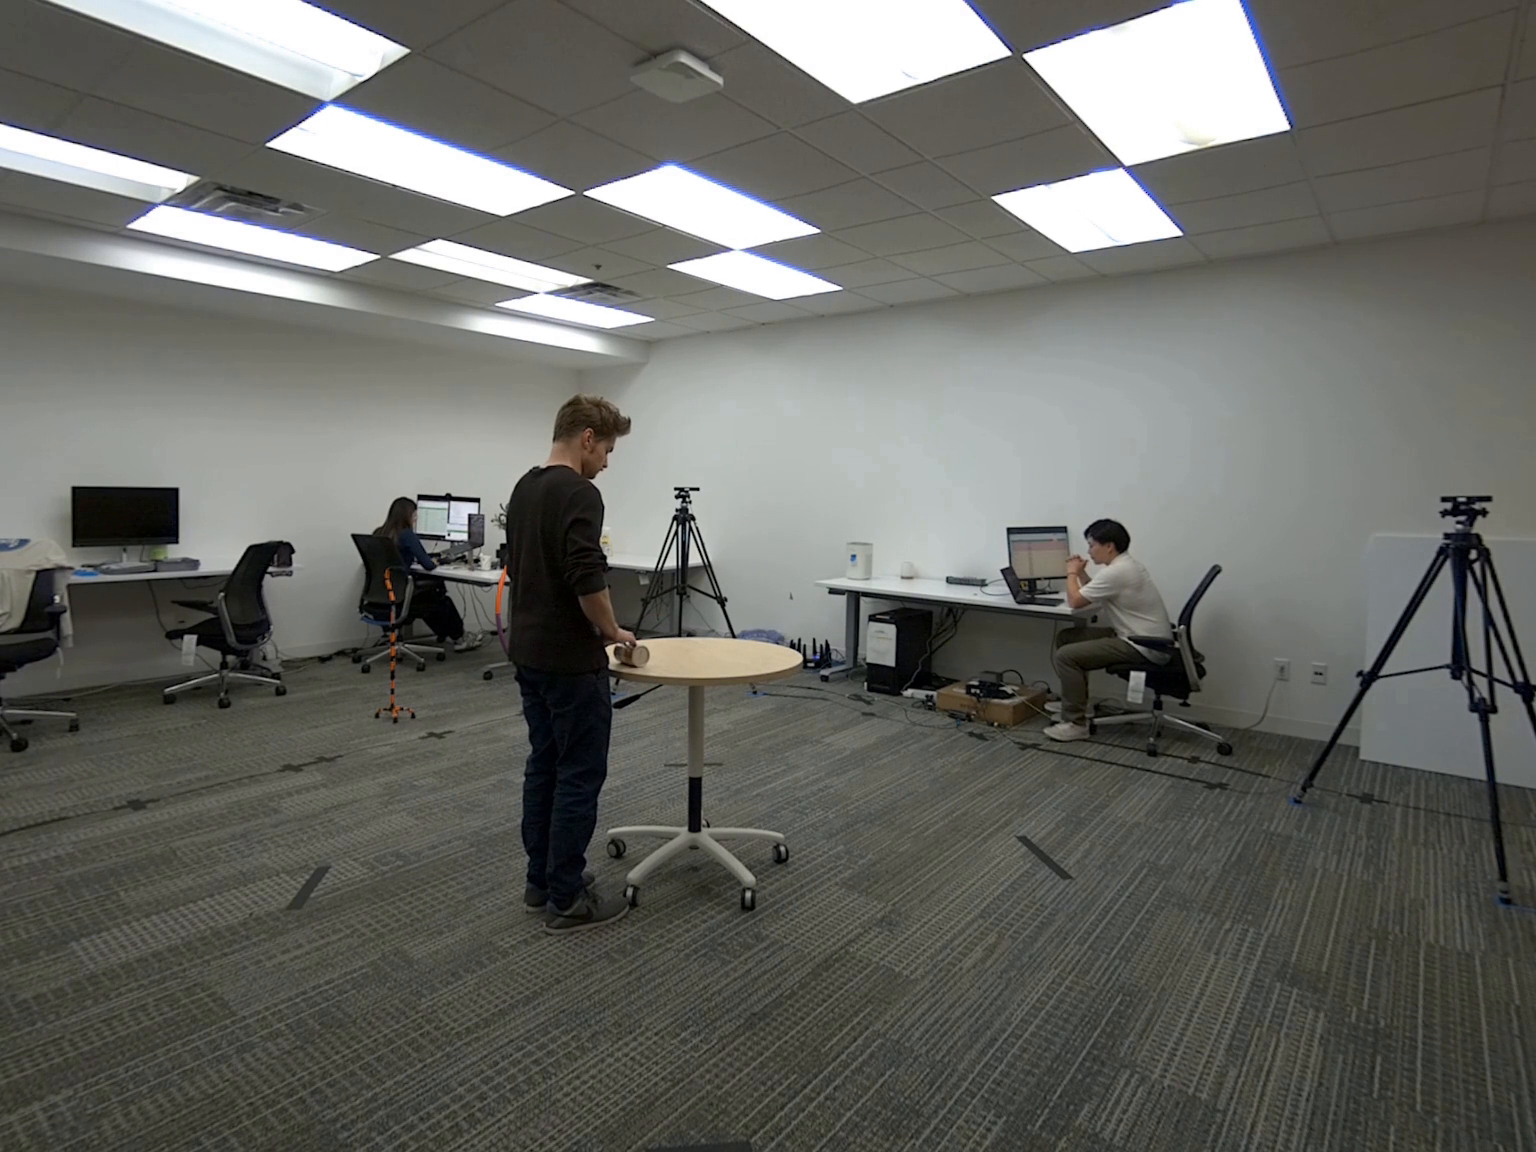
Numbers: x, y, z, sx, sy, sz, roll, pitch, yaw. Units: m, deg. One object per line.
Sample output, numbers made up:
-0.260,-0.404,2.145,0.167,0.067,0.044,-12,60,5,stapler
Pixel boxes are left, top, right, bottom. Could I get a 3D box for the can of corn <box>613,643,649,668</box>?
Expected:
-0.466,0.263,2.888,0.072,0.074,0.115,-3,5,-40,can of corn
